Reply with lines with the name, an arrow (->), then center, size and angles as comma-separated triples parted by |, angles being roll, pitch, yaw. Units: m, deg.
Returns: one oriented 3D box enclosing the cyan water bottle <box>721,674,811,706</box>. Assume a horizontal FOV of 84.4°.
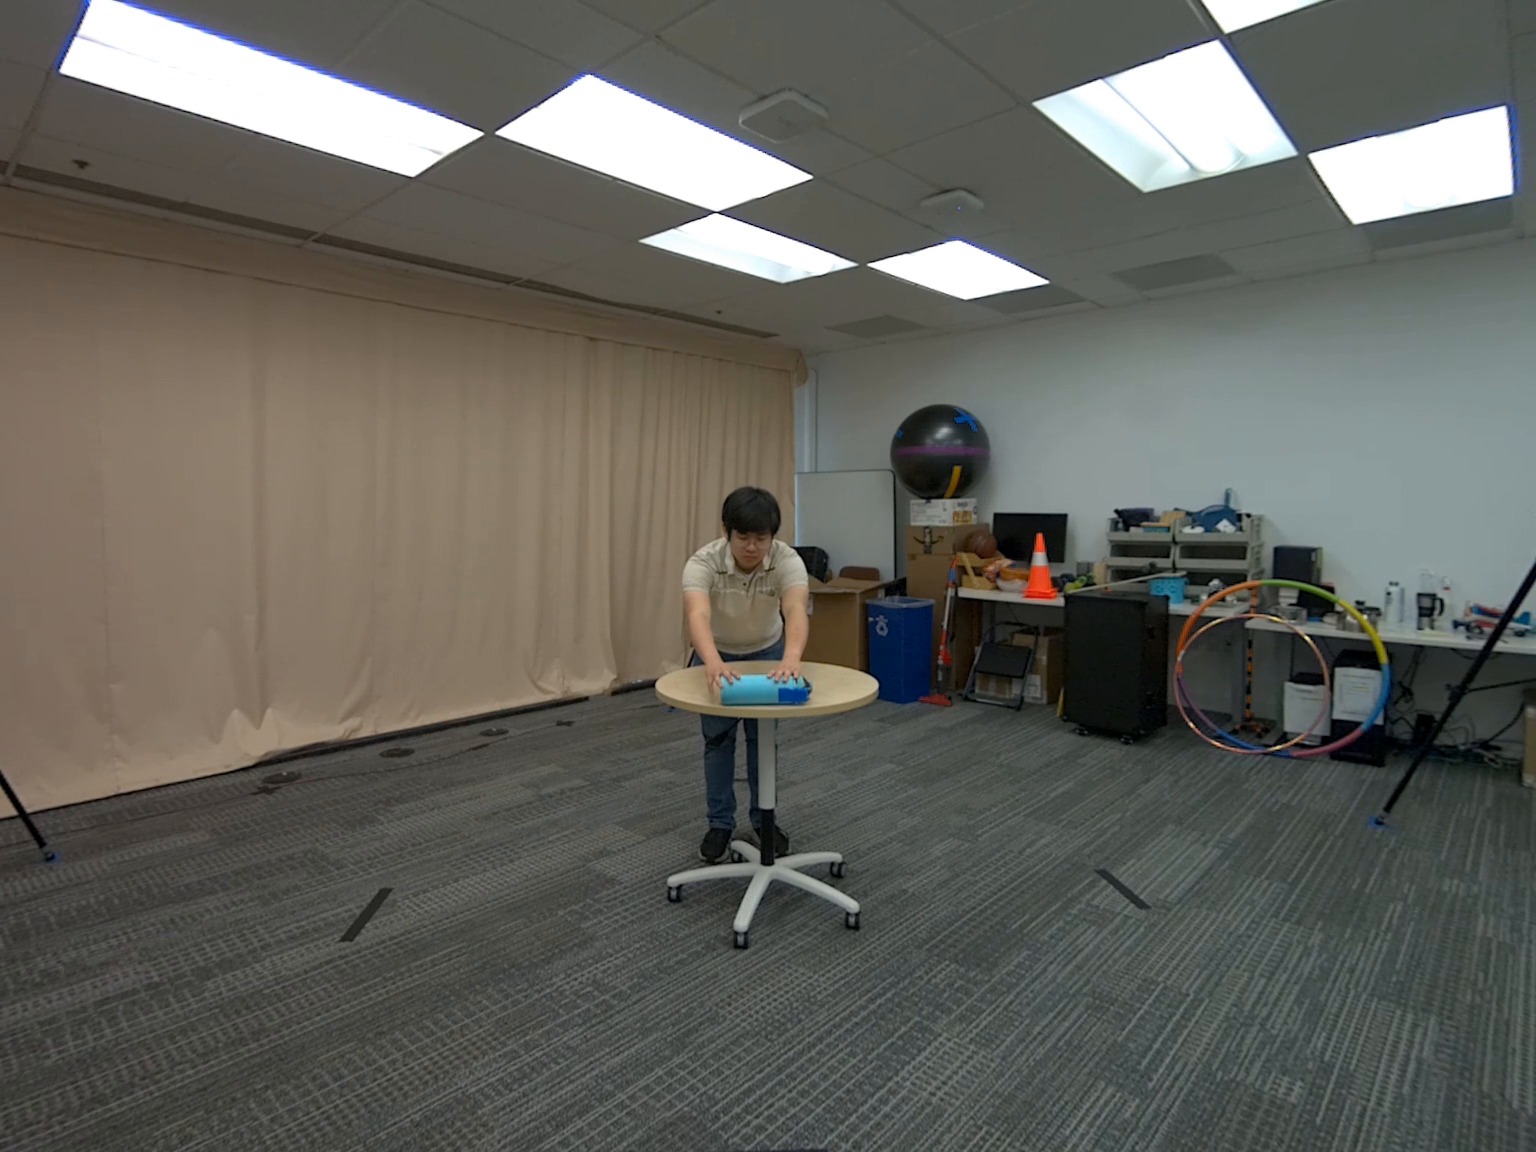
cyan water bottle -> -0.020, 0.346, 2.603 | 0.284, 0.092, 0.092 | 1, 4, 2
